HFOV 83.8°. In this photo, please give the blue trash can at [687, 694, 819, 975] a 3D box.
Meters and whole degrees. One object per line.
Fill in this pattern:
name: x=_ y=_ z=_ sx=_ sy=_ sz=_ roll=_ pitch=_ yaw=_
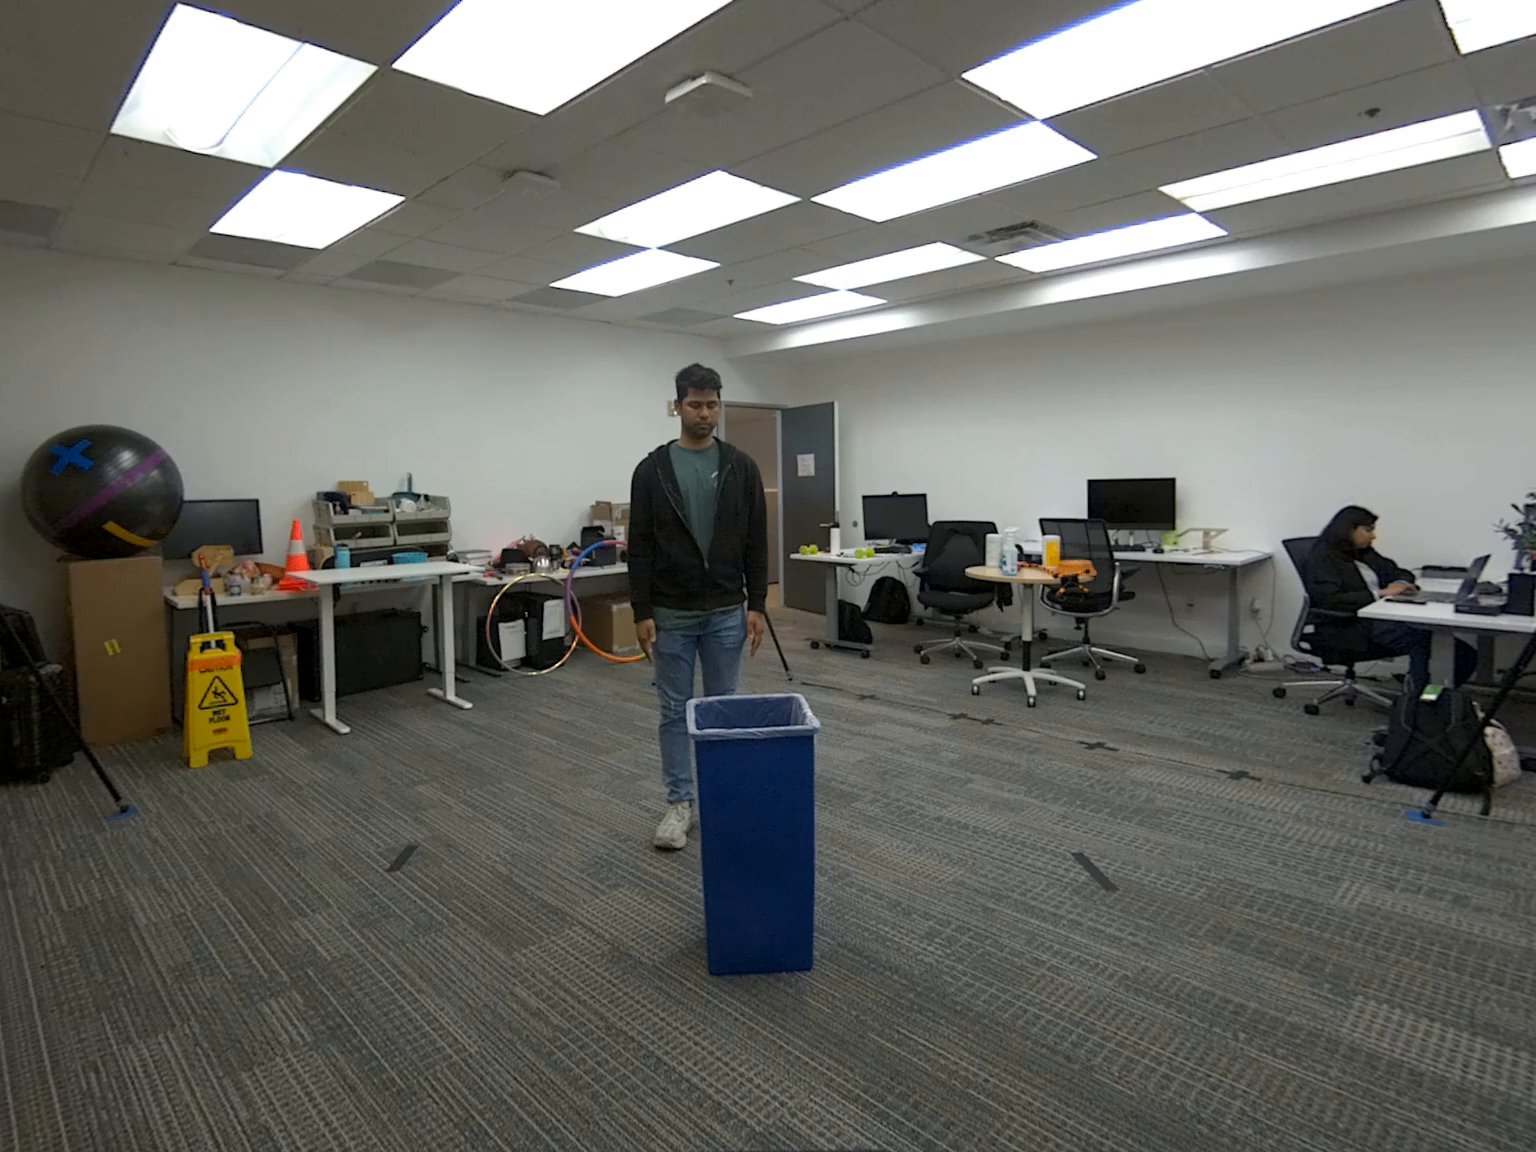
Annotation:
blue trash can: x=-0.046 y=0.755 z=2.545 sx=0.377 sy=0.711 sz=0.377 roll=-2 pitch=4 yaw=-5
